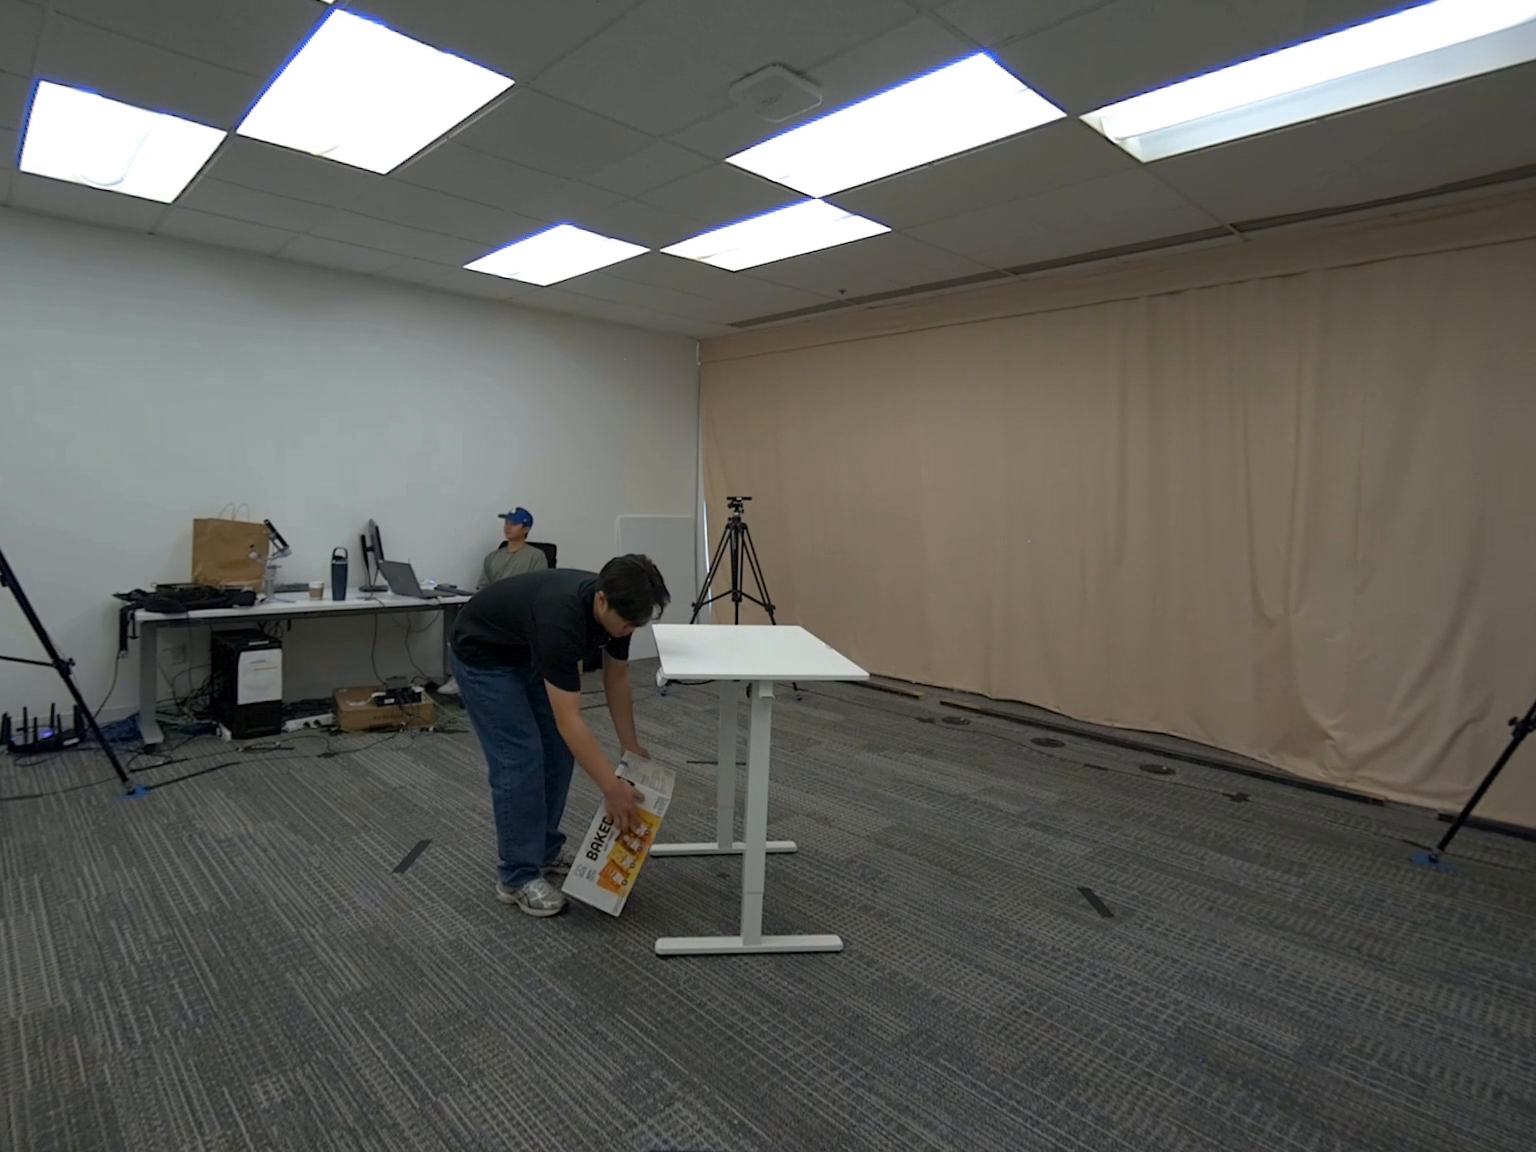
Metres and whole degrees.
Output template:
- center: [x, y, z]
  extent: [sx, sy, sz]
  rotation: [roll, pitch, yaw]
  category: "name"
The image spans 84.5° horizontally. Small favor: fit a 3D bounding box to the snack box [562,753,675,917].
- center: [-0.497, 0.853, 2.828]
  extent: [0.205, 0.405, 0.341]
  rotation: [25, -1, -3]
  category: "snack box"
